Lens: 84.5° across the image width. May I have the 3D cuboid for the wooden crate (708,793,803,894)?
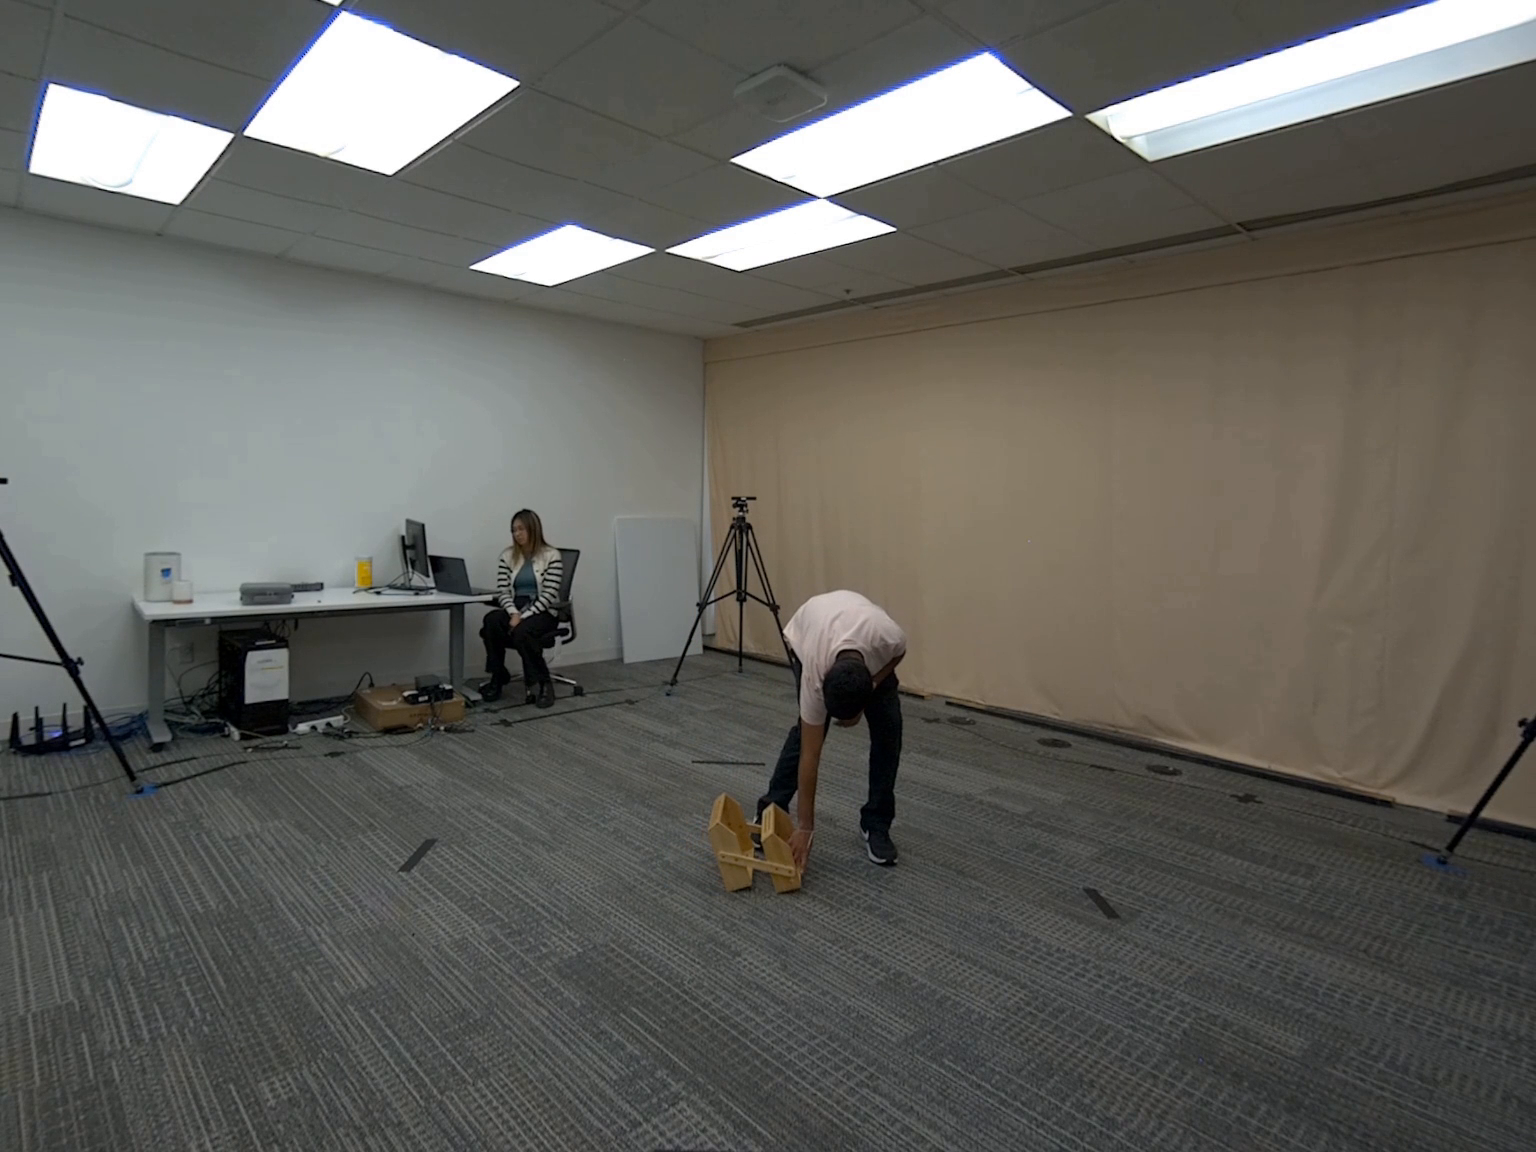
[{"bbox_3d":[-0.055,0.972,3.108,0.274,0.301,0.325,-17,3,2],"label":"wooden crate"}]
